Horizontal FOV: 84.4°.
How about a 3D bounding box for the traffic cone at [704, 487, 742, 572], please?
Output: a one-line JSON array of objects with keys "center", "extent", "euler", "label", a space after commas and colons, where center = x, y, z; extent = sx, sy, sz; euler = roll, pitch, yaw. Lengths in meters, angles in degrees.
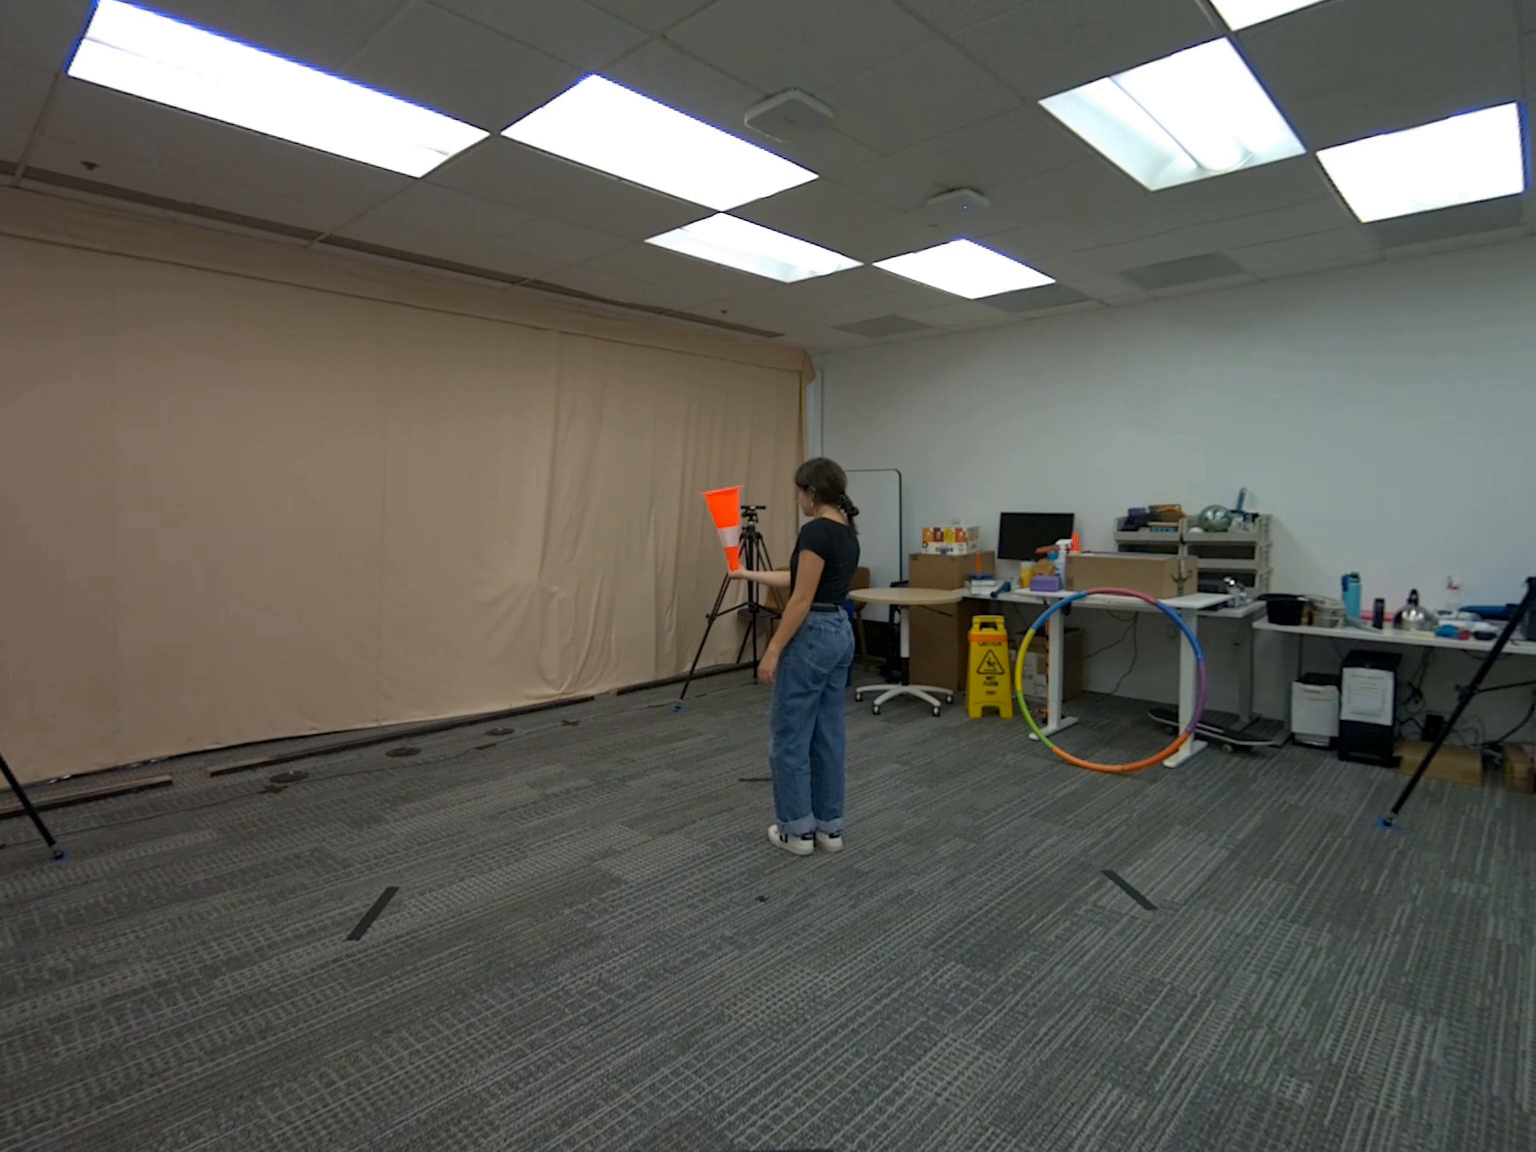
[{"center": [-0.175, -0.198, 3.814], "extent": [0.204, 0.383, 0.204], "euler": [-9, 3, 4], "label": "traffic cone"}]
